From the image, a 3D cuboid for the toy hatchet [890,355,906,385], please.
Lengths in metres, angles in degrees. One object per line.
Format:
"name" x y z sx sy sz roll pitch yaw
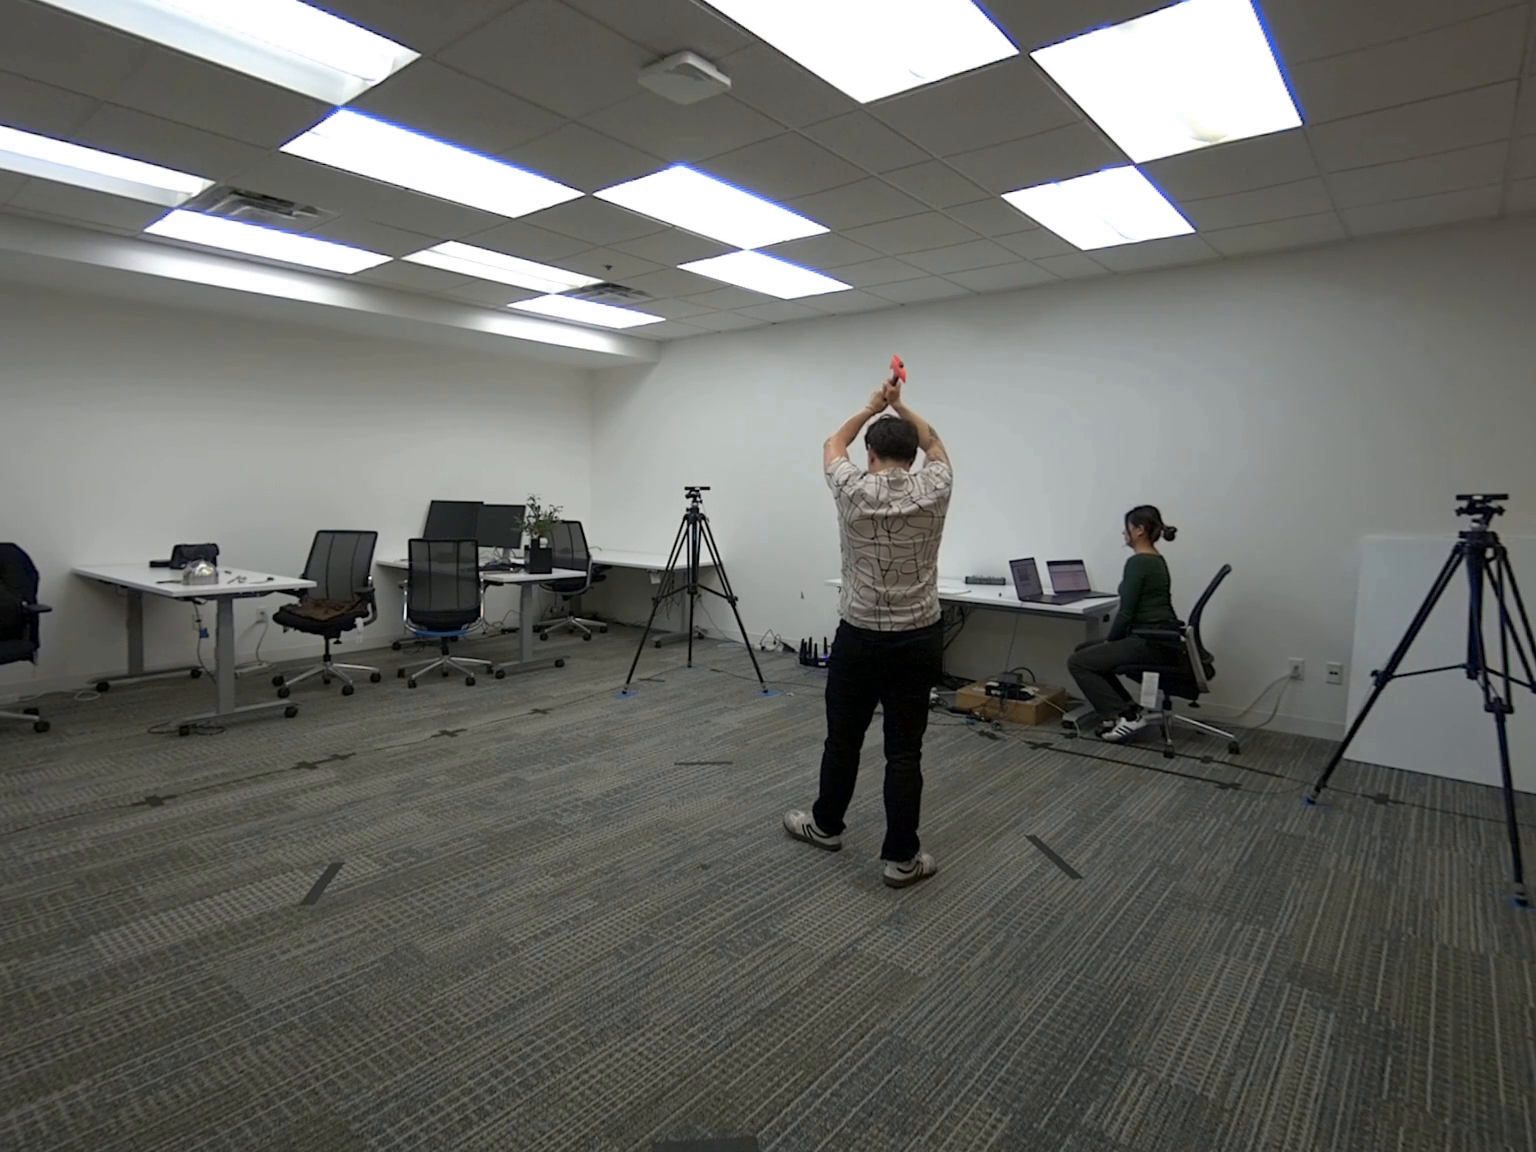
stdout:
"toy hatchet" 0.462 -0.772 3.310 0.029 0.132 0.271 -7 -9 -16
